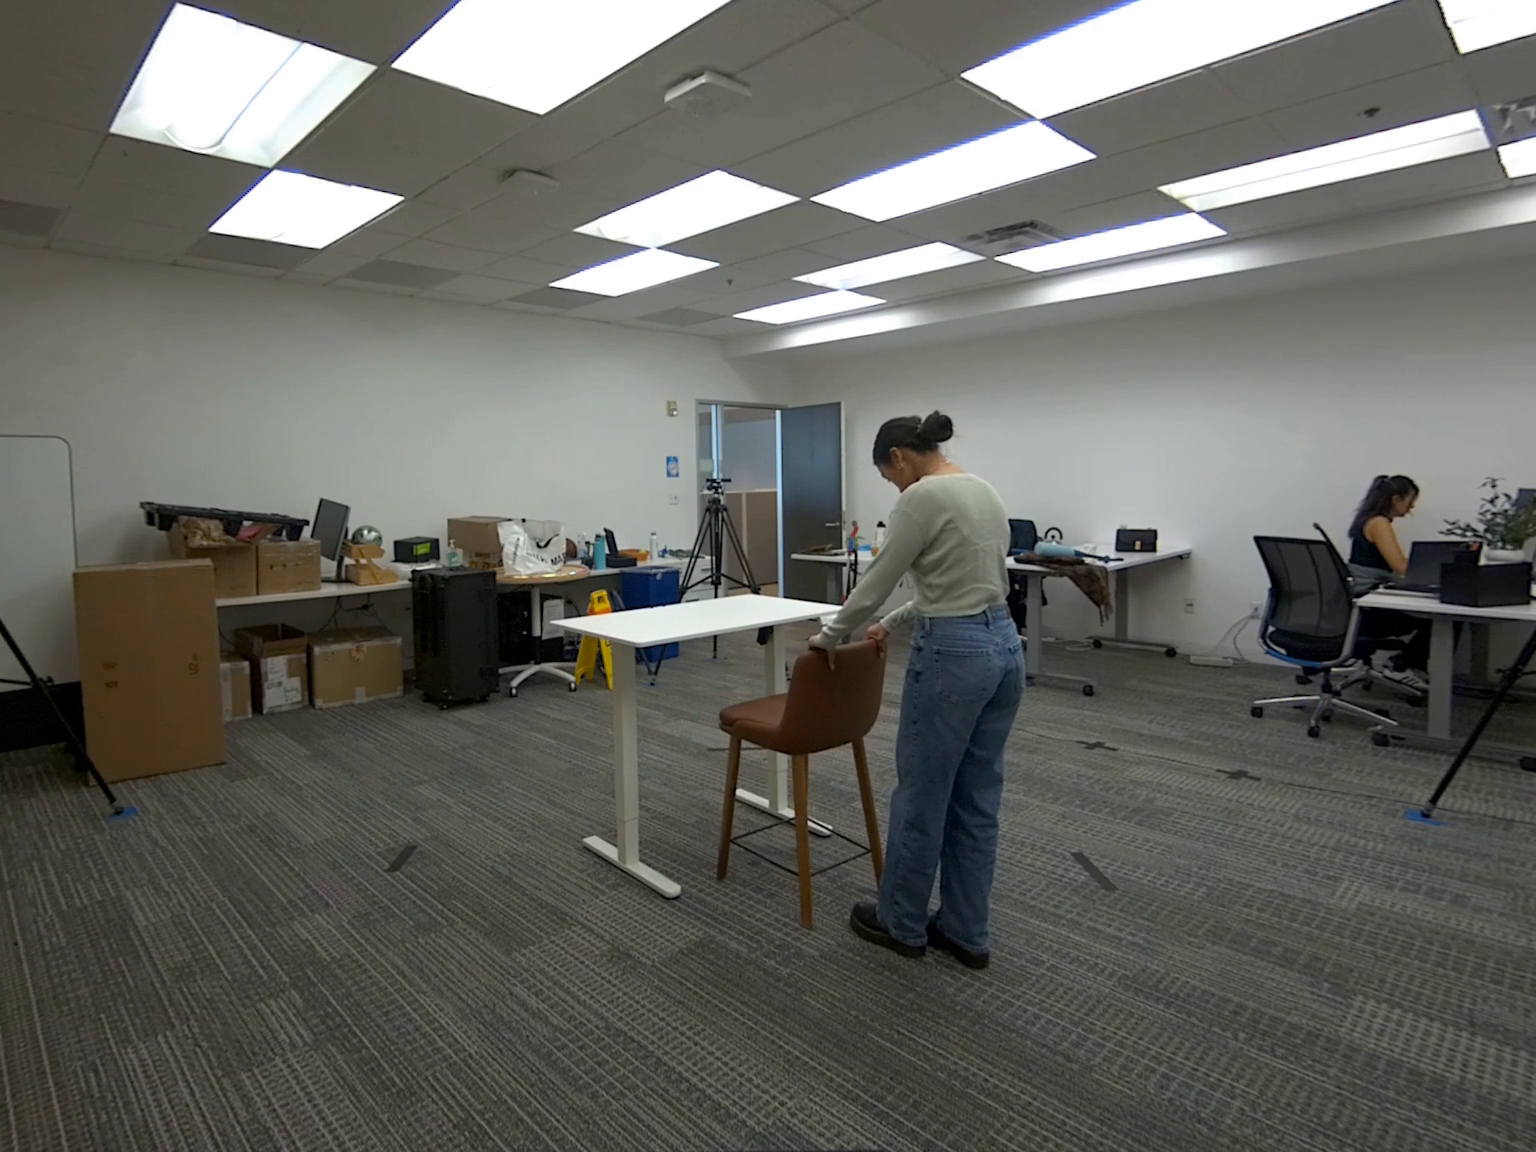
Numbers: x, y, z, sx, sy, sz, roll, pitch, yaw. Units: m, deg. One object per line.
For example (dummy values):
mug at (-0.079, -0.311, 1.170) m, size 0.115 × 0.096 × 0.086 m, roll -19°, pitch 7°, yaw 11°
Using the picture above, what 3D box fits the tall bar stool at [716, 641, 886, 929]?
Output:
tall bar stool at (0.121, 0.624, 2.894) m, size 0.444 × 0.885 × 0.482 m, roll -4°, pitch 7°, yaw -39°
